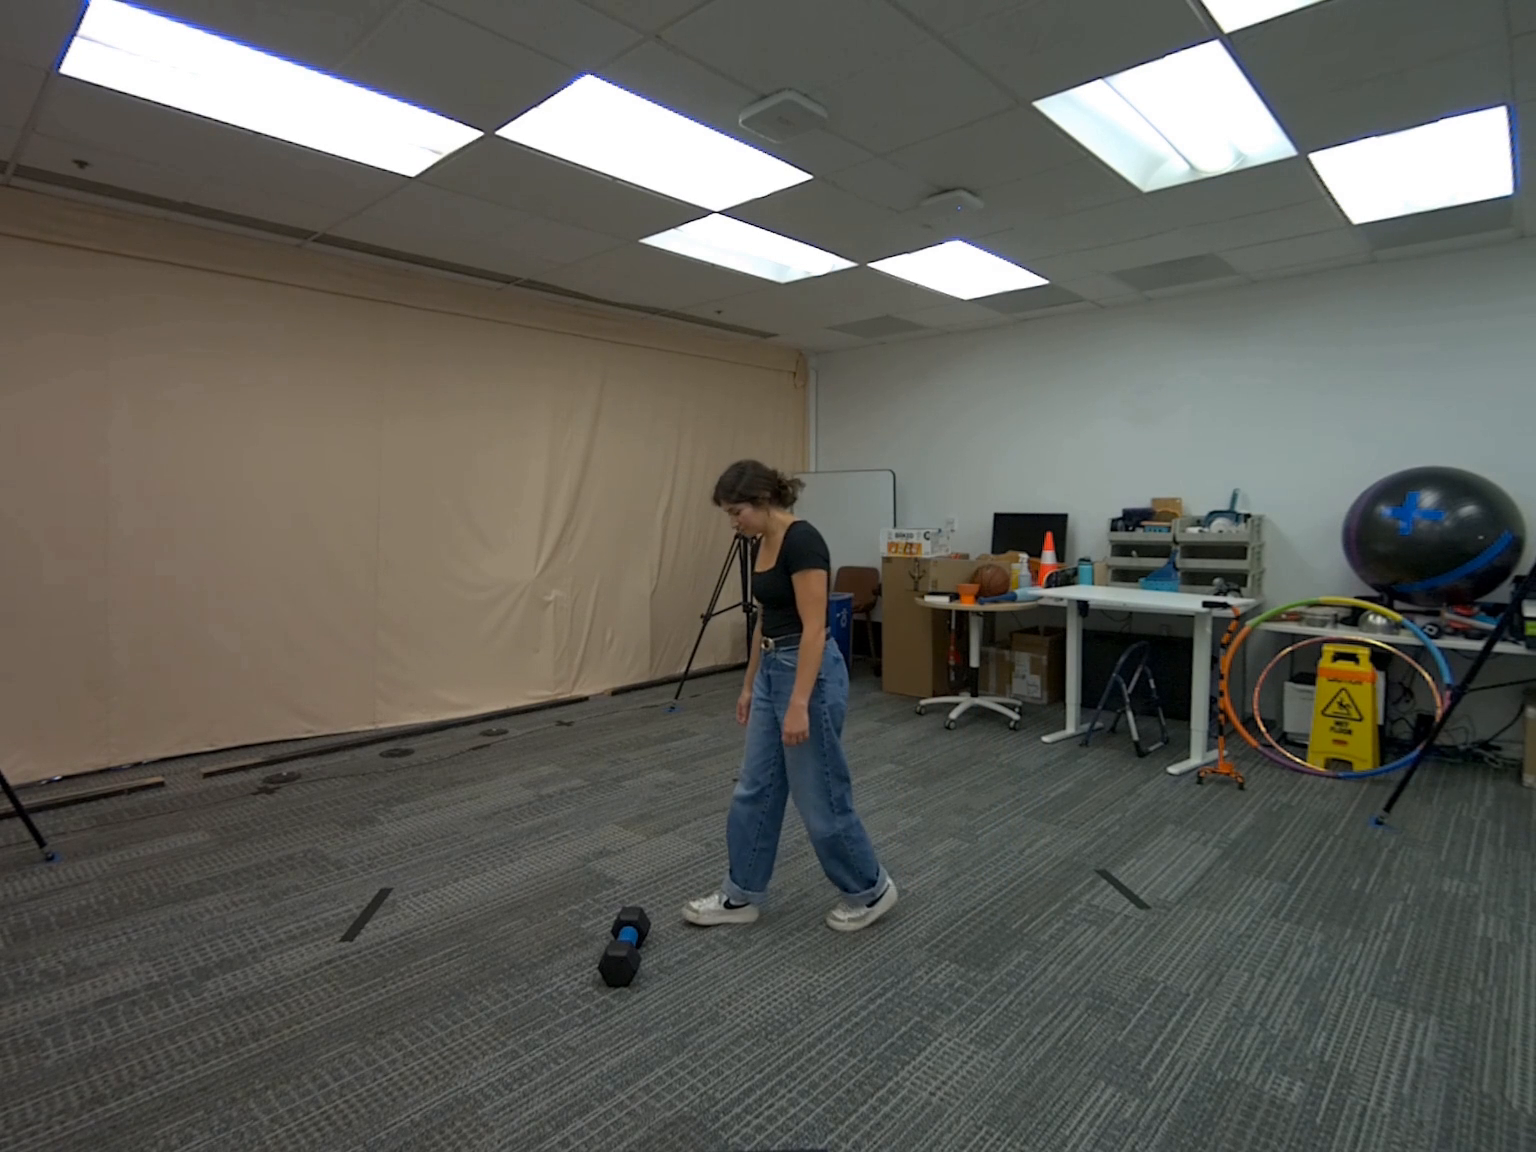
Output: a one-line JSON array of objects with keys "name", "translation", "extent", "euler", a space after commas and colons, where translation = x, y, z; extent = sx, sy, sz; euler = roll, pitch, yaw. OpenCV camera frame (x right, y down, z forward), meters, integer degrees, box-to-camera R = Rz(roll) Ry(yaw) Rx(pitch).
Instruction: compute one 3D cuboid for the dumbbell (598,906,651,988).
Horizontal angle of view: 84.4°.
[{"name": "dumbbell", "translation": [-0.436, 1.132, 2.568], "extent": [0.109, 0.122, 0.294], "euler": [-29, 4, 0]}]
